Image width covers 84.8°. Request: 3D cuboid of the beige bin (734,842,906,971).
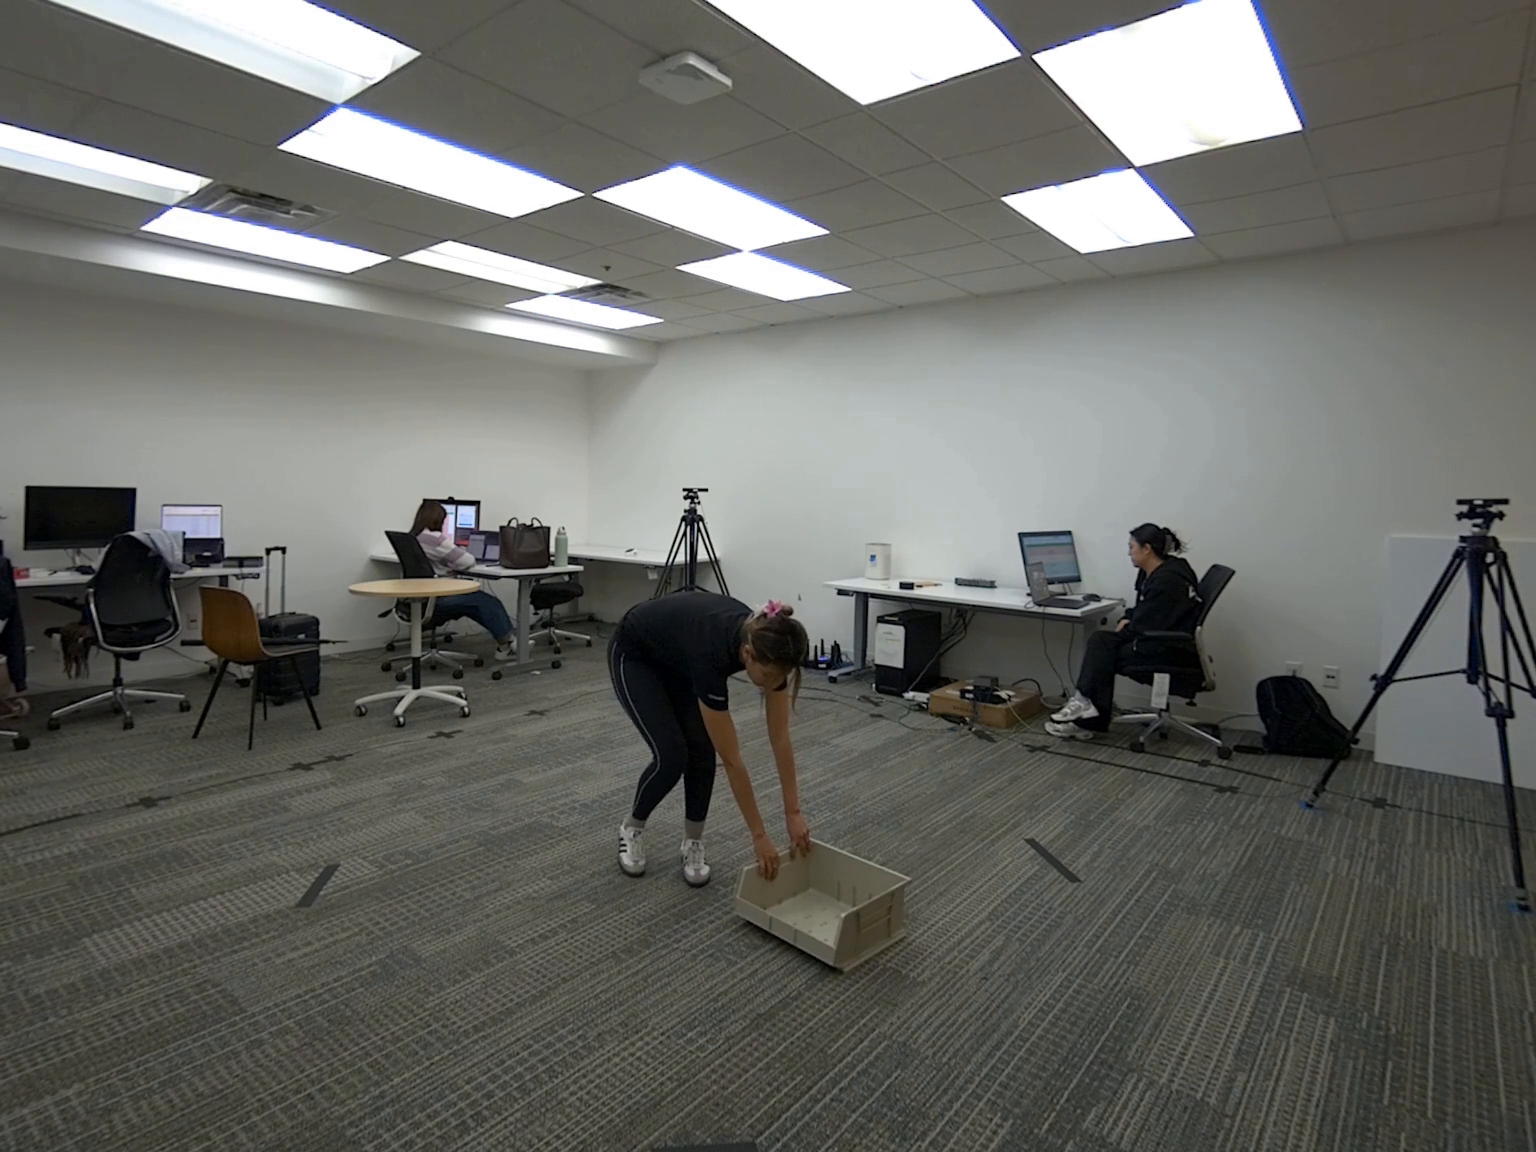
[{"bbox_3d":[0.161,1.028,2.695,0.436,0.188,0.365,4,4,44],"label":"beige bin"}]
